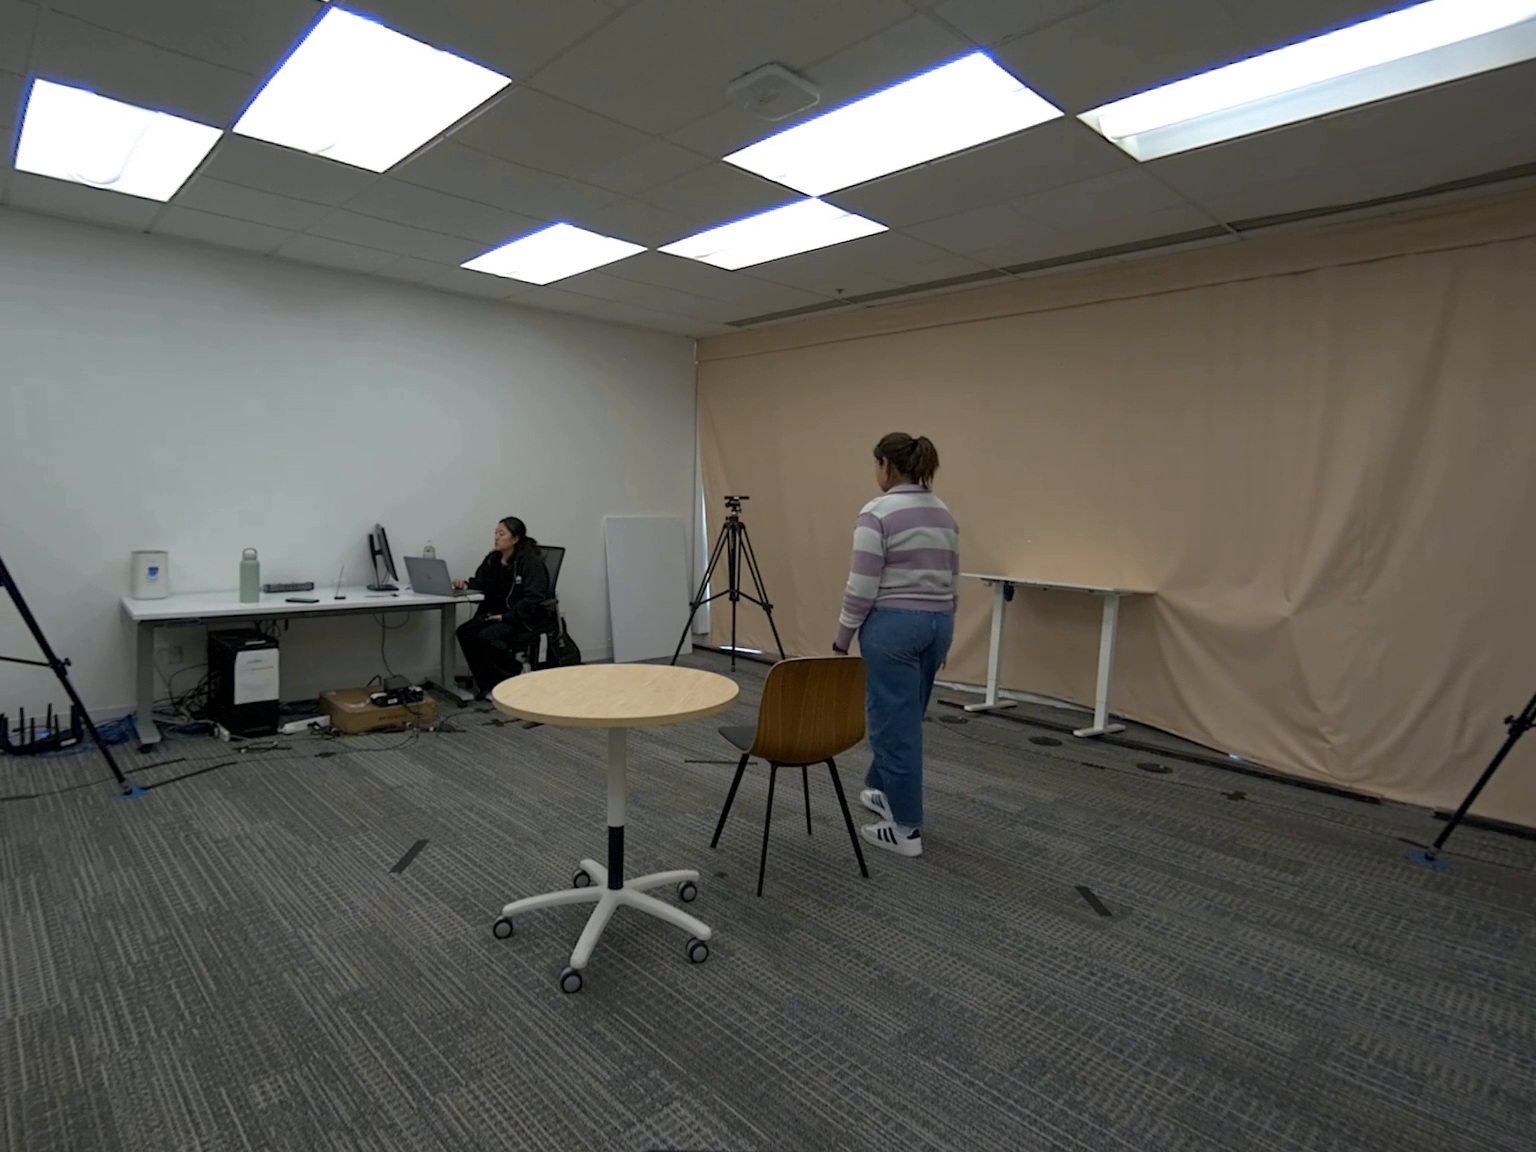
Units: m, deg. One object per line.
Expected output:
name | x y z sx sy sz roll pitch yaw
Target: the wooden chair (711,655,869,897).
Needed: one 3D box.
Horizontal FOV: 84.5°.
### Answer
wooden chair | 0.073 0.671 3.205 0.470 0.873 0.535 0 8 -24
